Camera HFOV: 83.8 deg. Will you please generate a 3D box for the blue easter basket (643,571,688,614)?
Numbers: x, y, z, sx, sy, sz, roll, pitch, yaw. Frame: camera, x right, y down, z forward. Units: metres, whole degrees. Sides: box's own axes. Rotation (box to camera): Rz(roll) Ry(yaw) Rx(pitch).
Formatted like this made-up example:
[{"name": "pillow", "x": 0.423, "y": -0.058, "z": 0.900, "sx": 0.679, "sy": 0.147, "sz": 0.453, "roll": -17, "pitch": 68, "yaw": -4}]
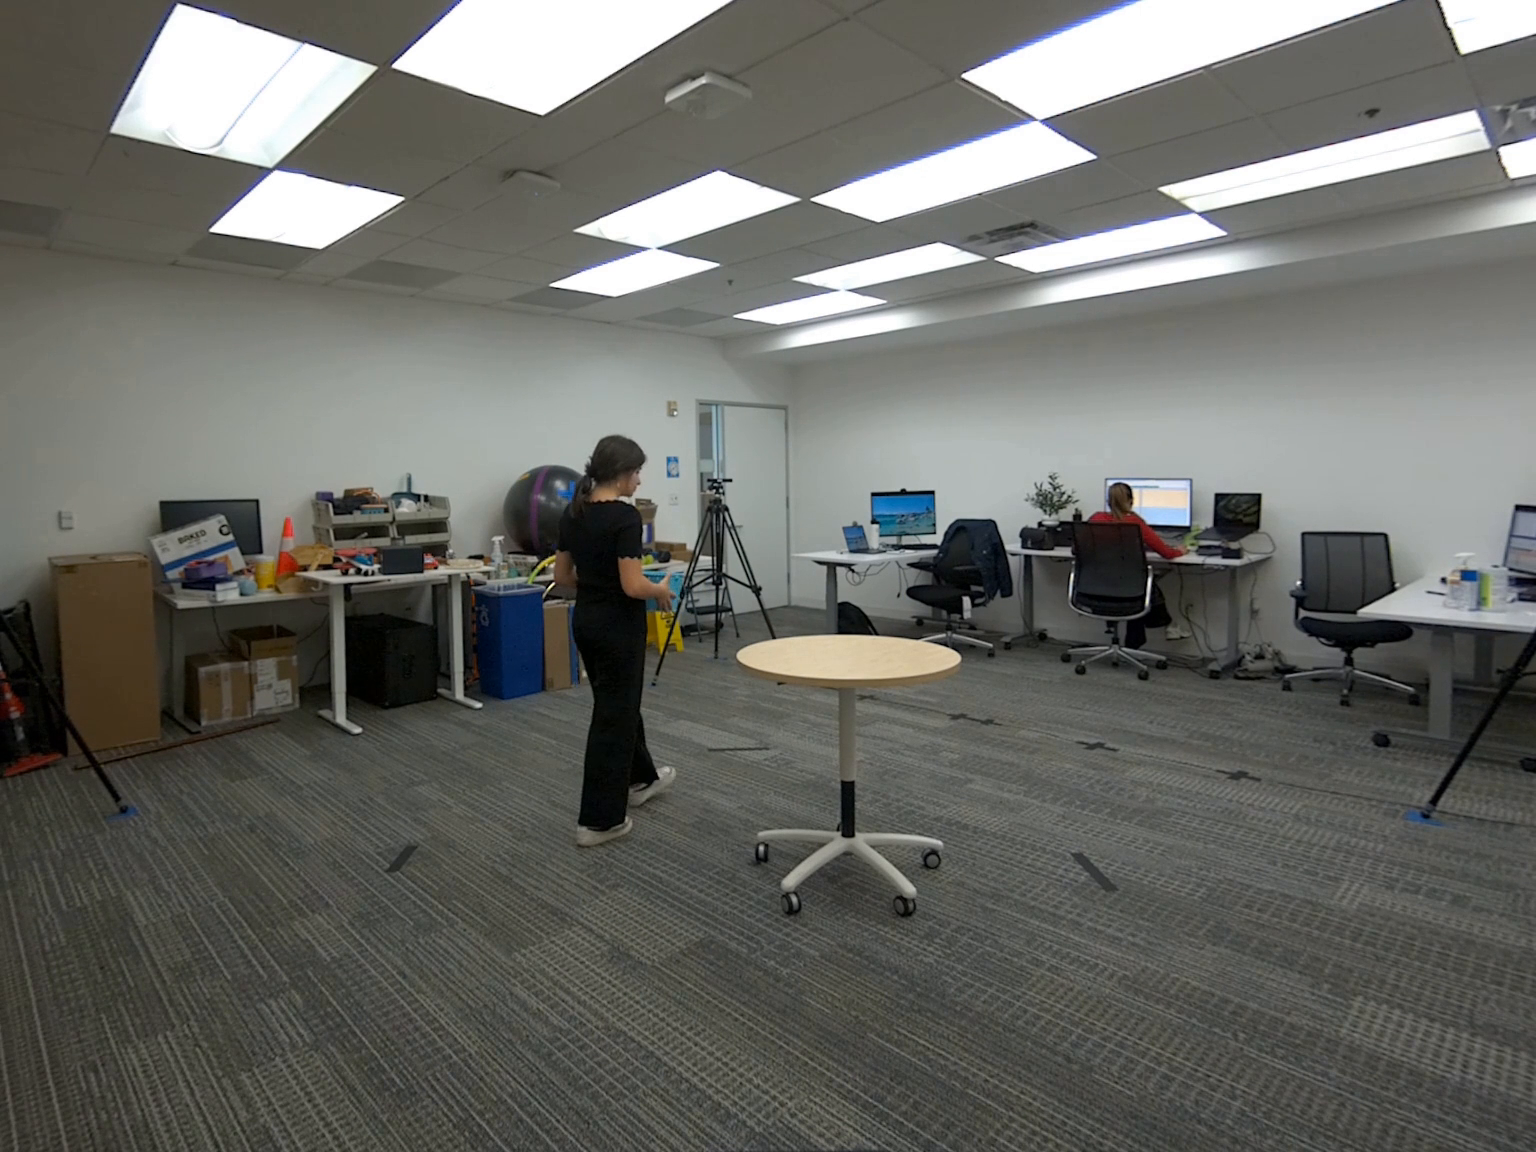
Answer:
[{"name": "blue easter basket", "x": -0.463, "y": 0.065, "z": 3.544, "sx": 0.243, "sy": 0.156, "sz": 0.244, "roll": 0, "pitch": 2, "yaw": -2}]
